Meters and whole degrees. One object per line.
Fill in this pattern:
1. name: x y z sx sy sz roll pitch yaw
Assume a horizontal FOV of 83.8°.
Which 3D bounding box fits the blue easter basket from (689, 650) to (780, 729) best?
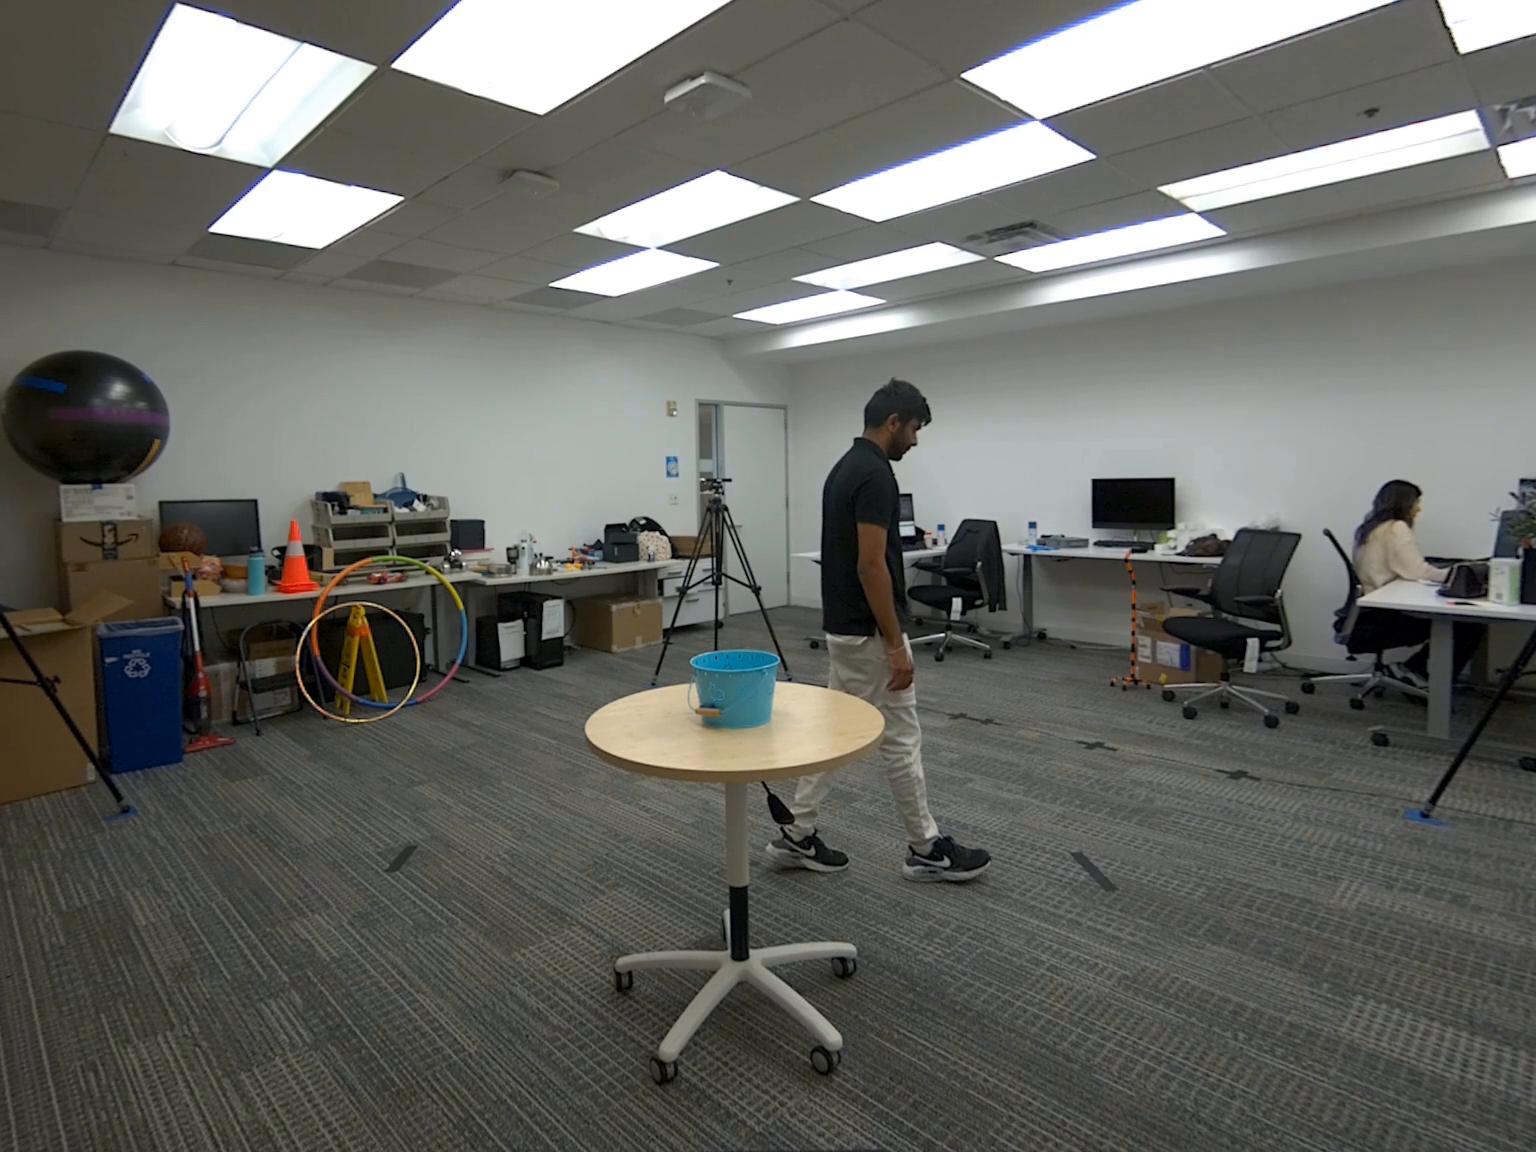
1. blue easter basket: -0.093 0.297 2.202 0.243 0.155 0.245 -2 6 -1
